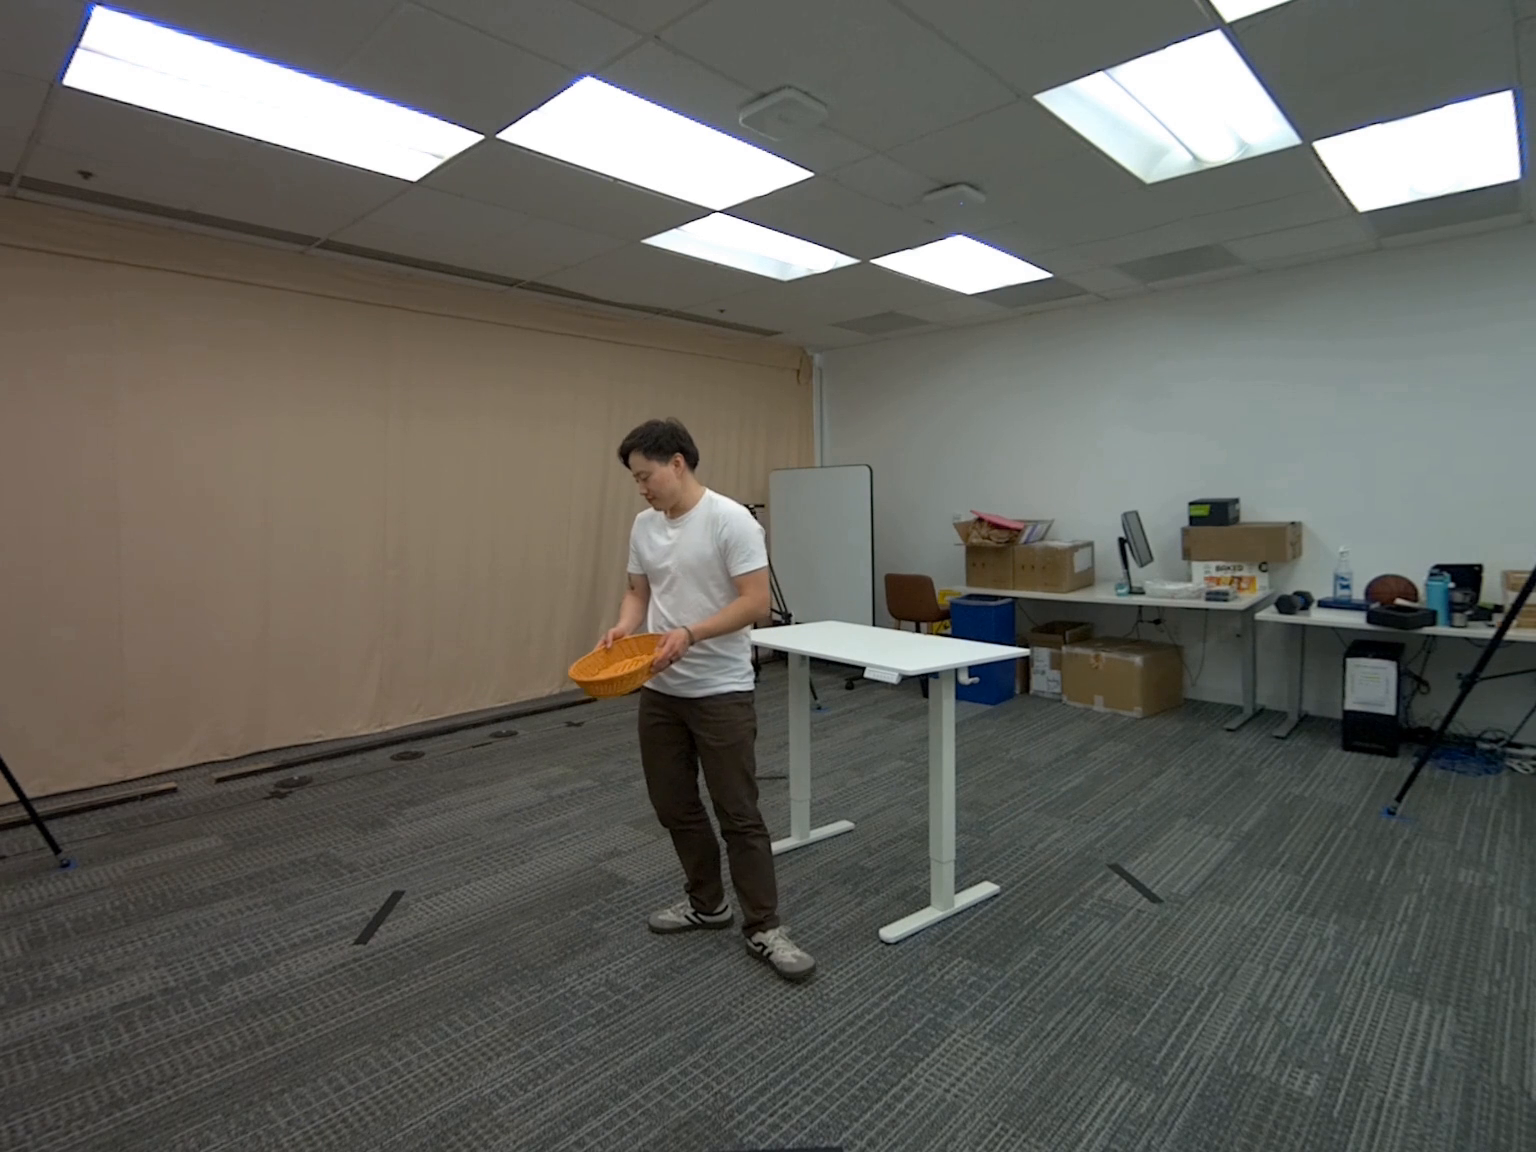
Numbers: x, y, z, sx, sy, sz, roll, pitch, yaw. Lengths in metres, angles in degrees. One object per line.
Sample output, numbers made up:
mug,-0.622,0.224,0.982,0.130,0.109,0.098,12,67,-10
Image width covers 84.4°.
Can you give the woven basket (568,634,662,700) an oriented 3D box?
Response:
woven basket,-0.418,0.259,2.413,0.260,0.072,0.343,0,18,36
